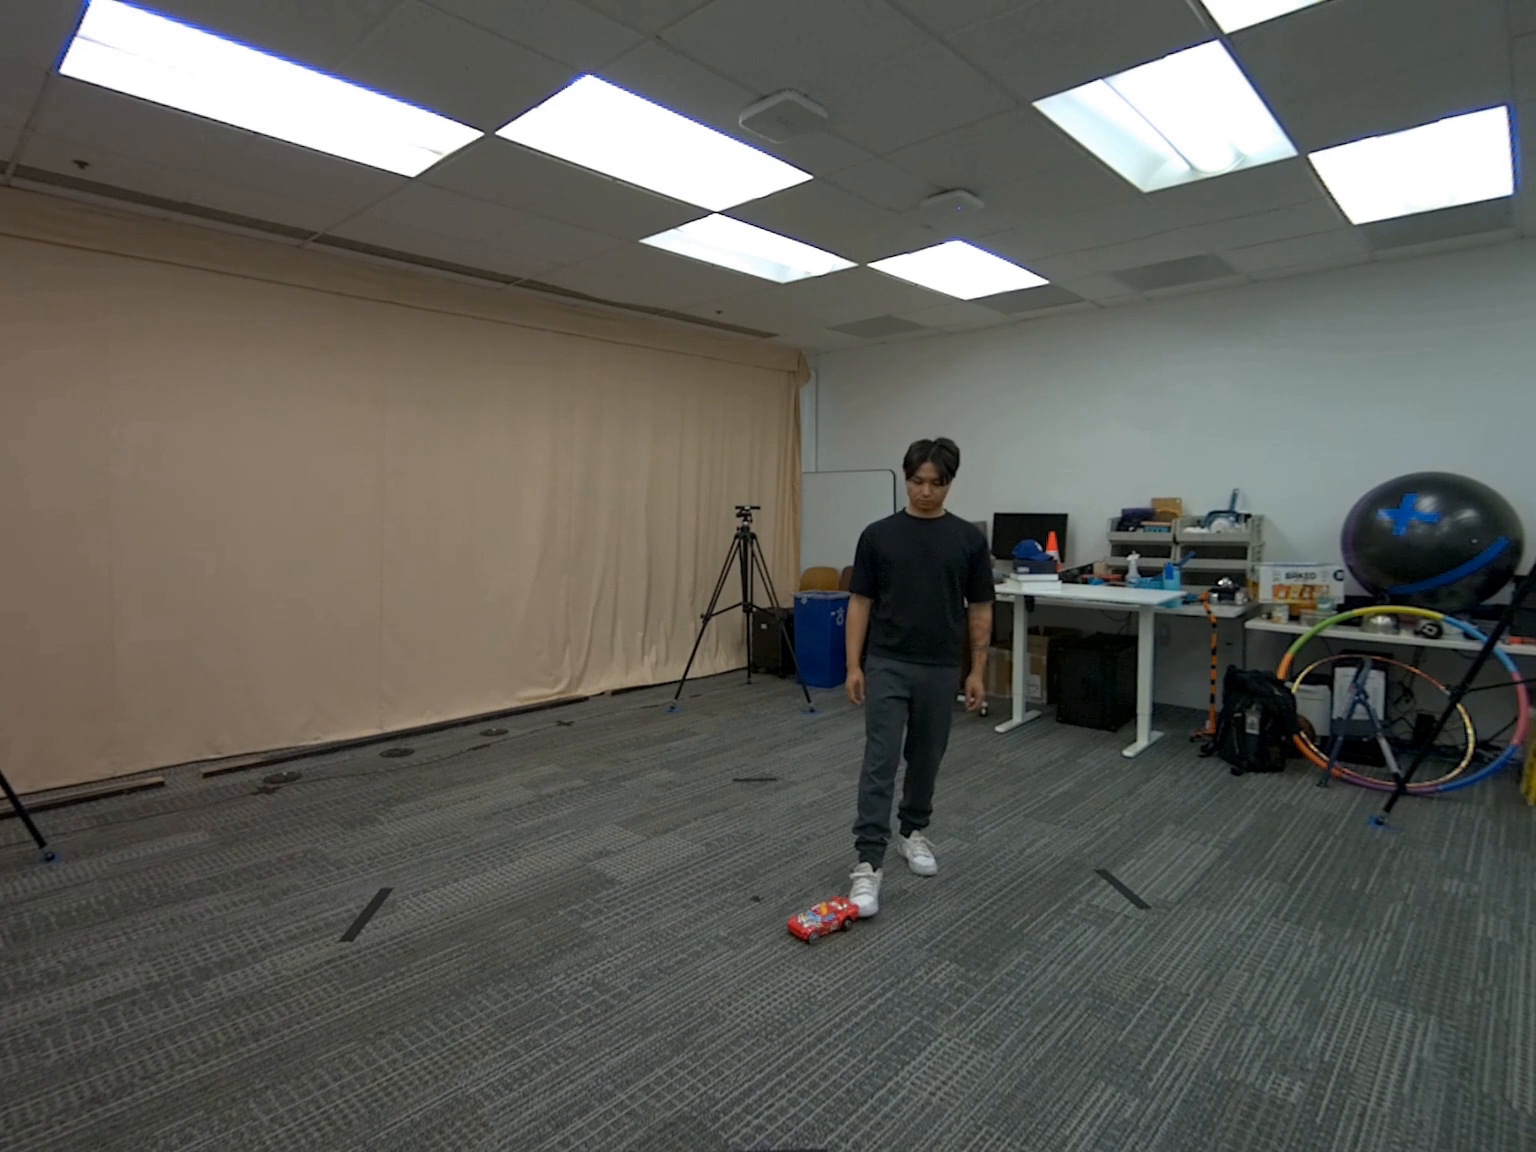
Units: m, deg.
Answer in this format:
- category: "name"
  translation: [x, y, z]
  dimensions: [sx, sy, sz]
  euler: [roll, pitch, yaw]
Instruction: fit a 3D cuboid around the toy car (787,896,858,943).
- category: "toy car"
  translation: [0.194, 1.128, 2.767]
  dimensions: [0.249, 0.082, 0.134]
  euler: [-17, 13, -33]
